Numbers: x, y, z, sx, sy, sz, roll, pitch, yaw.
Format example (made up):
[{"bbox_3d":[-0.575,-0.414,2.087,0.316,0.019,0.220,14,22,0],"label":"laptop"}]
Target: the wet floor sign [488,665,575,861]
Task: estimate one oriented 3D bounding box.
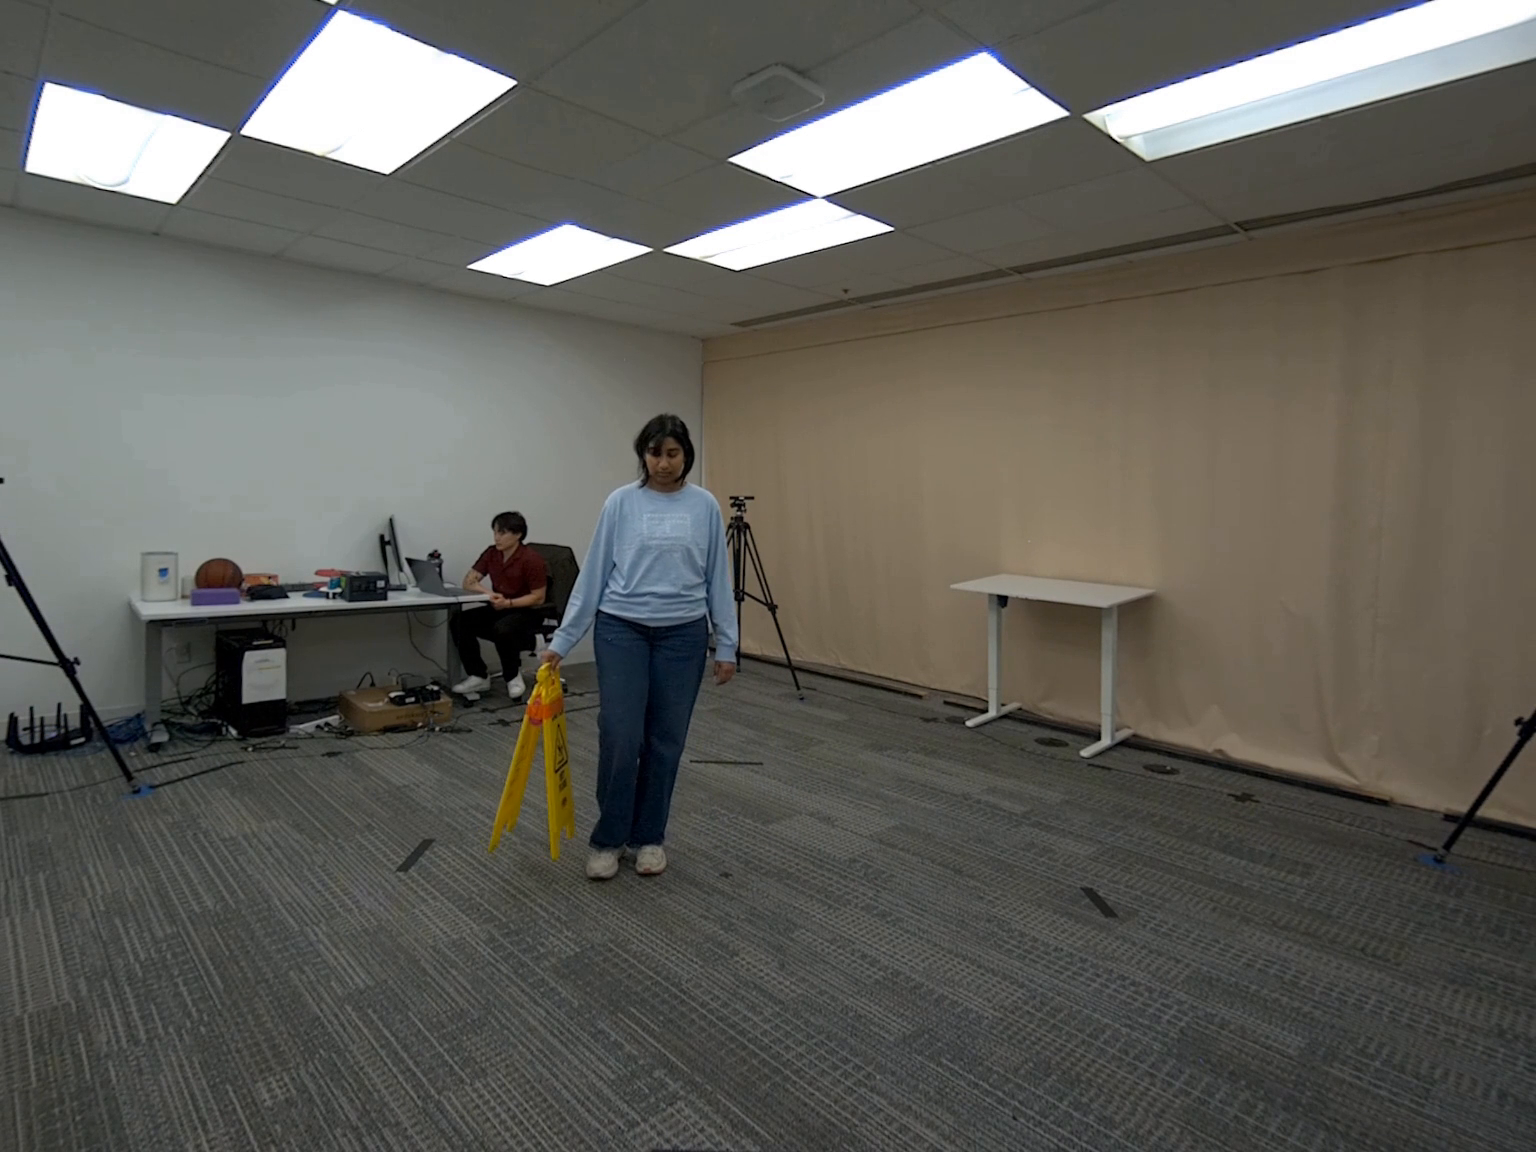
[{"bbox_3d":[-0.832,0.644,3.030,0.290,0.646,0.282,7,0,1],"label":"wet floor sign"}]
